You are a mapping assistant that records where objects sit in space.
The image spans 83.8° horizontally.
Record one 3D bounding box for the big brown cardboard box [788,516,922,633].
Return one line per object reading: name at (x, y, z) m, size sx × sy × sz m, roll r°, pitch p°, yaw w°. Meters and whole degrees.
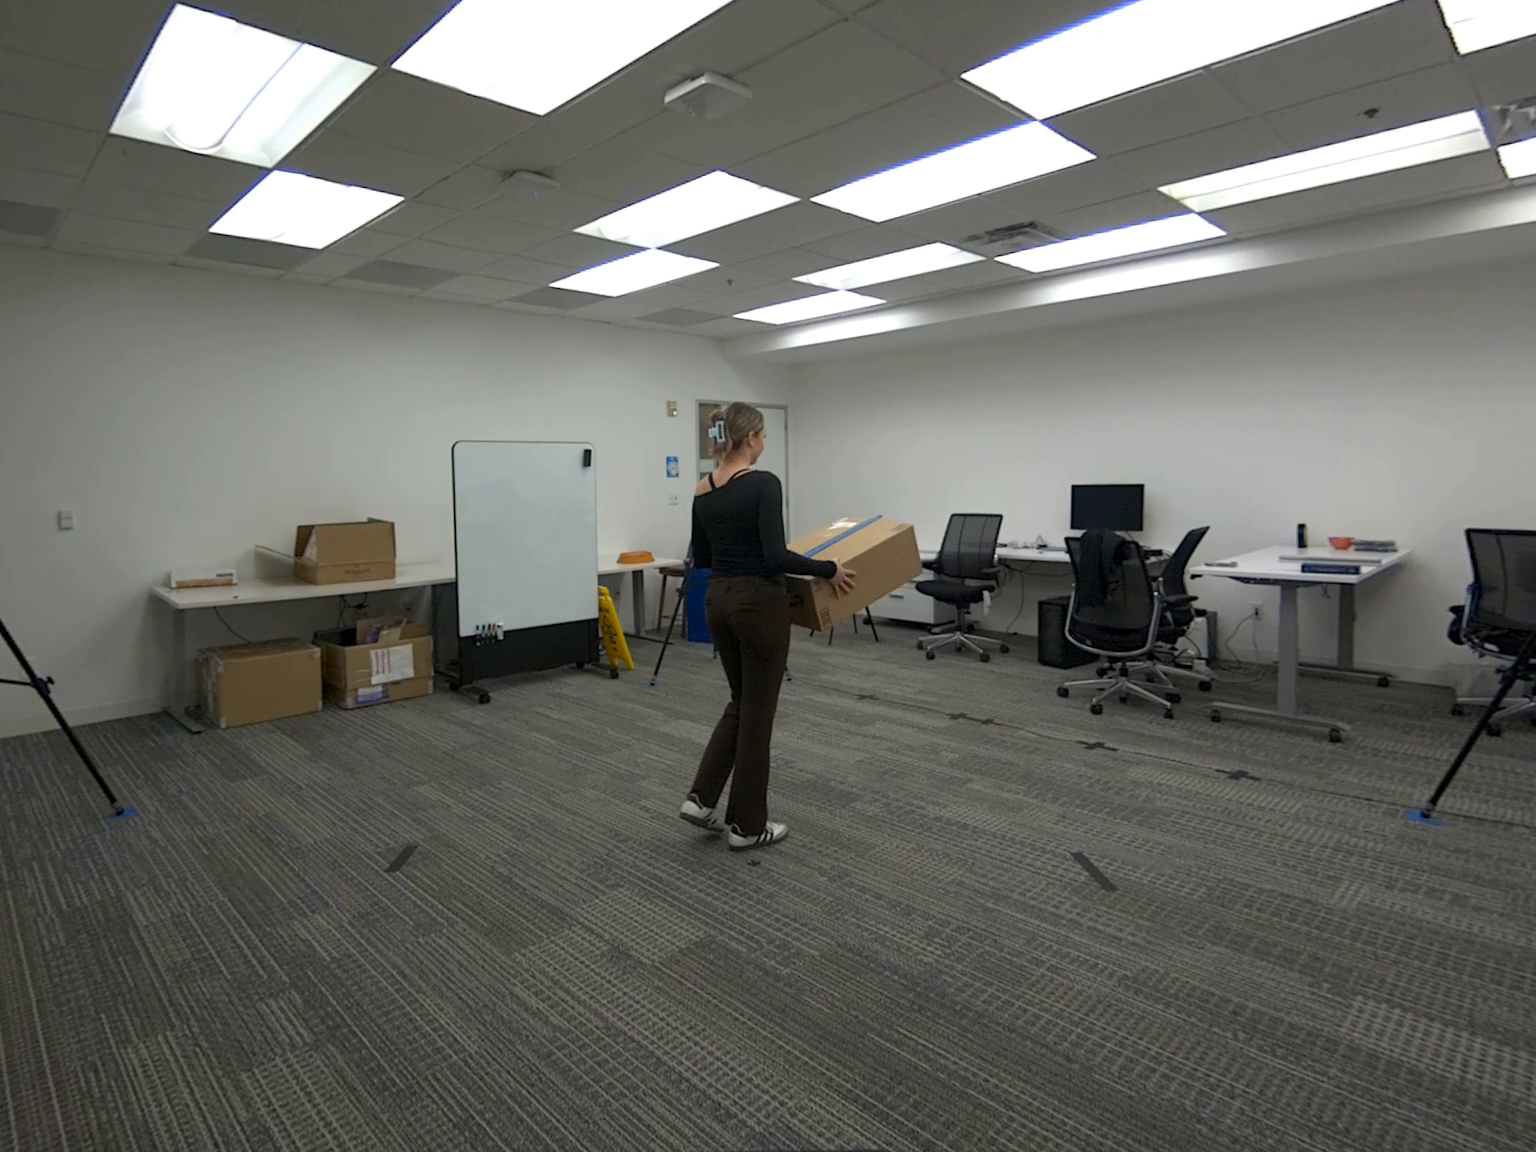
big brown cardboard box at (0.269, -0.029, 3.451) m, size 0.582 × 0.228 × 0.431 m, roll -28°, pitch 22°, yaw -30°
